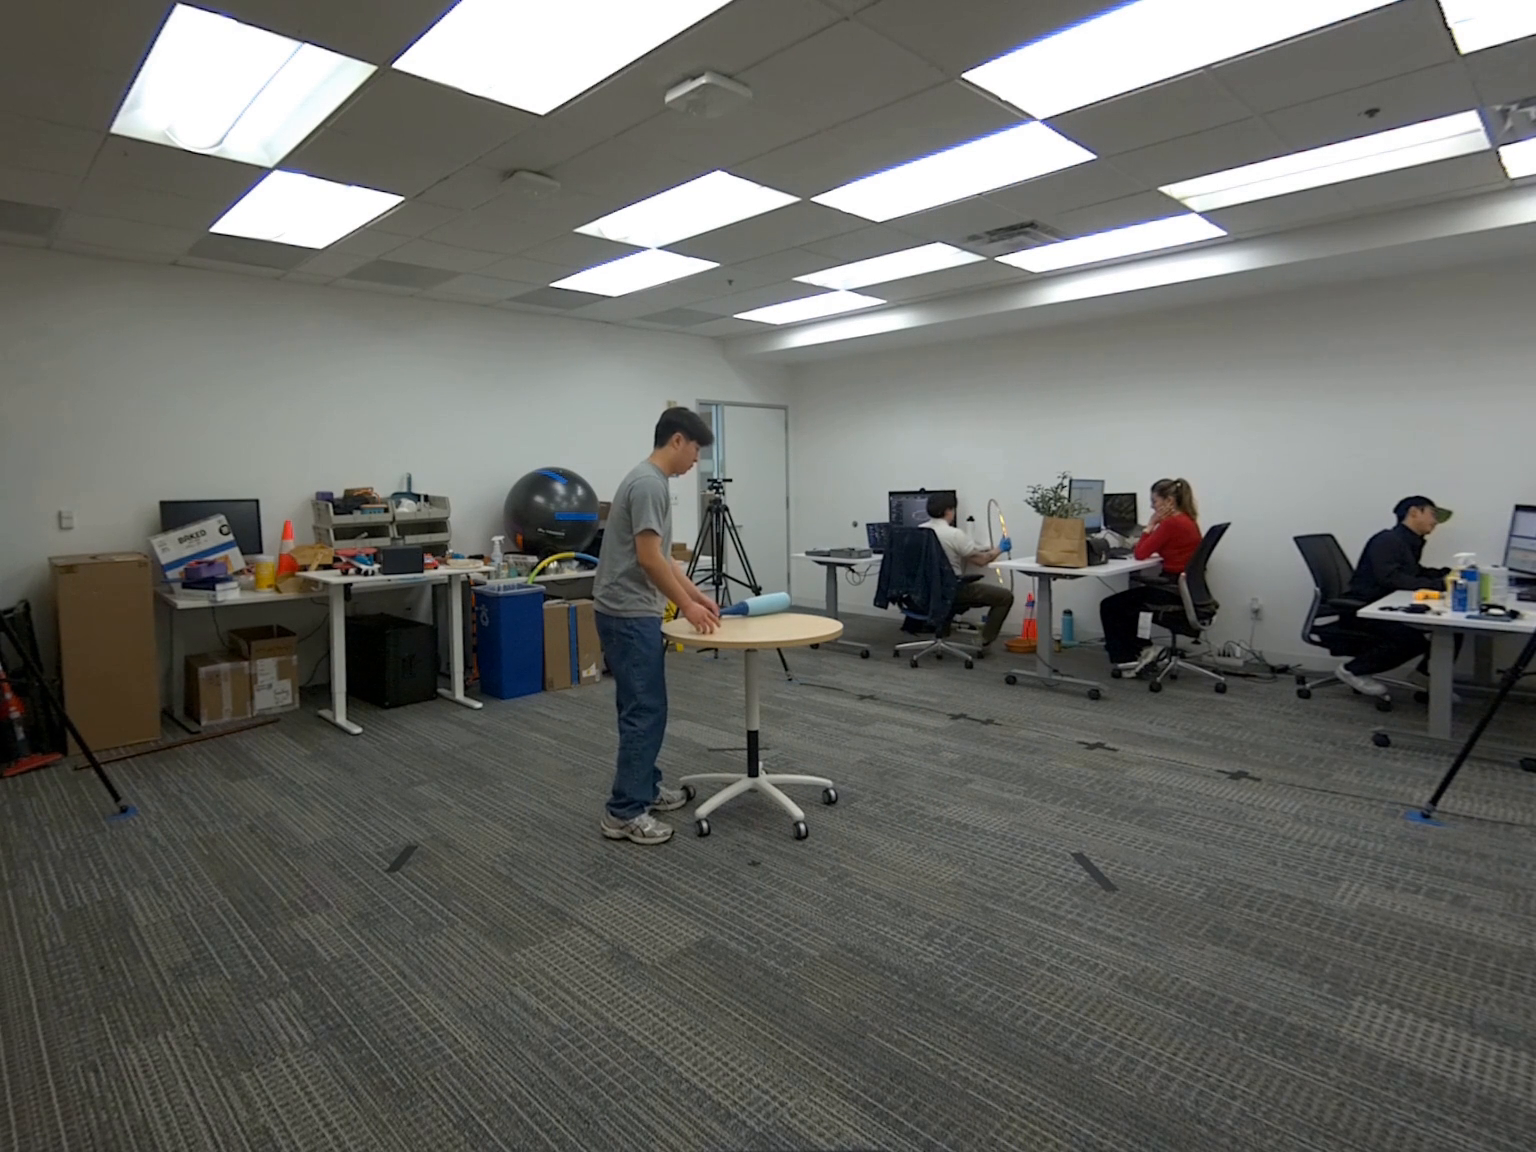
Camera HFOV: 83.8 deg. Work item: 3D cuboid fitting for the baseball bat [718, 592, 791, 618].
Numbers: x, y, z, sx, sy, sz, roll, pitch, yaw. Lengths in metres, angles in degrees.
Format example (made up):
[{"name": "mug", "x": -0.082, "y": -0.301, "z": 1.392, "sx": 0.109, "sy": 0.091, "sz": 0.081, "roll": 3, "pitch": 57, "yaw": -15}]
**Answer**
[{"name": "baseball bat", "x": -0.113, "y": 0.153, "z": 3.802, "sx": 0.530, "sy": 0.088, "sz": 0.092, "roll": -10, "pitch": 9, "yaw": -37}]
